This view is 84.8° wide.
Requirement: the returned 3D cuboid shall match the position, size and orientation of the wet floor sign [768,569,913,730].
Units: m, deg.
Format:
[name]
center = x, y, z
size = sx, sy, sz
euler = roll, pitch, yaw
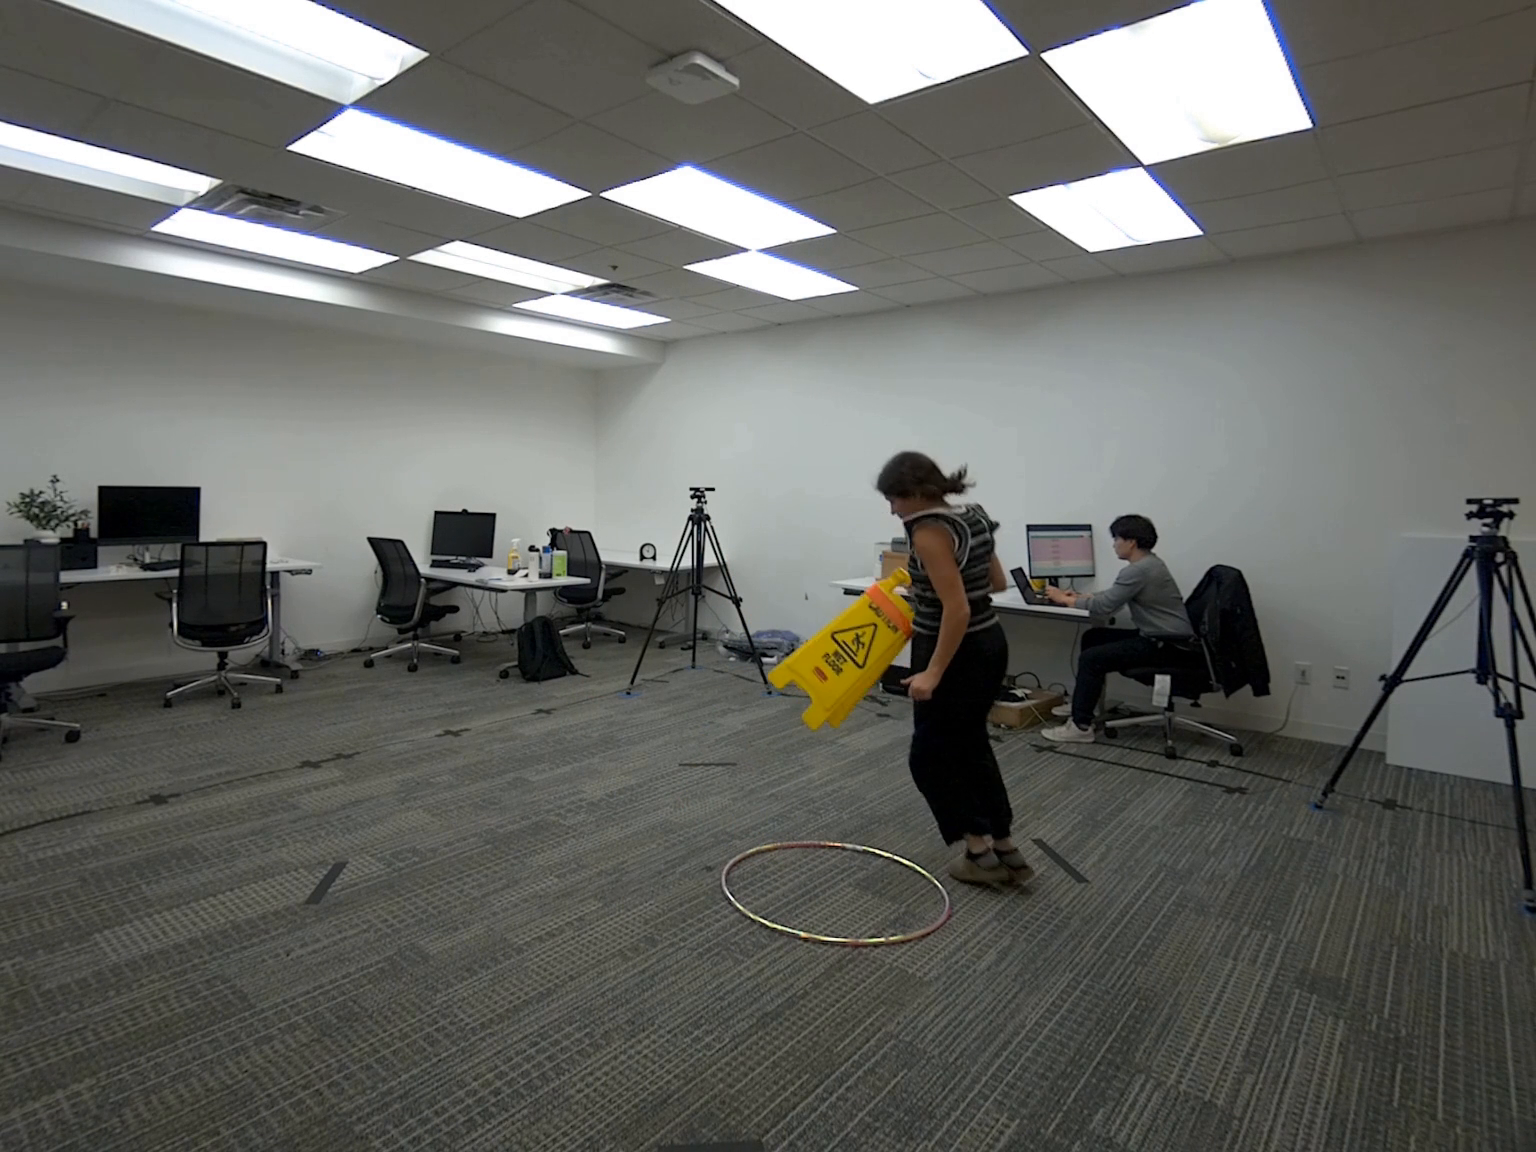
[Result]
[wet floor sign]
center = 0.344, 0.279, 3.233
size = 0.291, 0.646, 0.281
euler = 47, 12, 23
